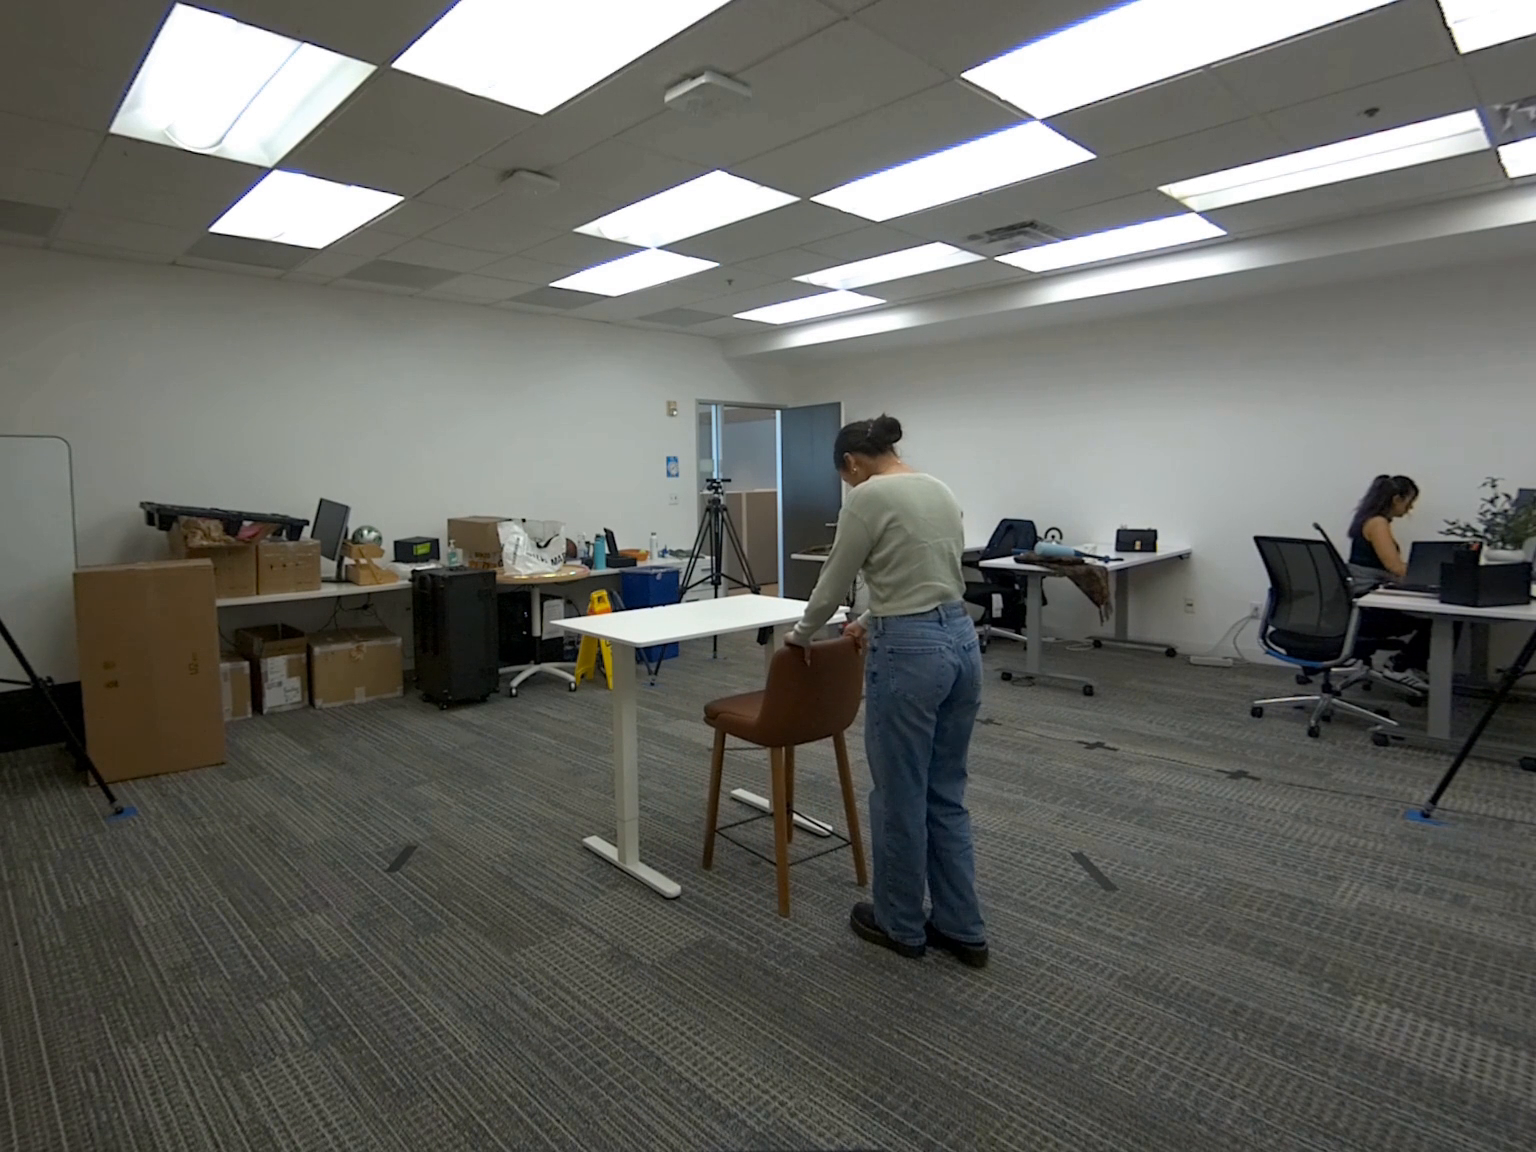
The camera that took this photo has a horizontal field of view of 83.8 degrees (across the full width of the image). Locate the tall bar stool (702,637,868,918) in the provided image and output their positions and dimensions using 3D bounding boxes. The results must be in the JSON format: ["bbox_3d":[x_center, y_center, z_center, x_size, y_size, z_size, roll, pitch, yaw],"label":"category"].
[{"bbox_3d":[0.061,0.619,2.967,0.445,0.885,0.482,-4,8,-37],"label":"tall bar stool"}]
